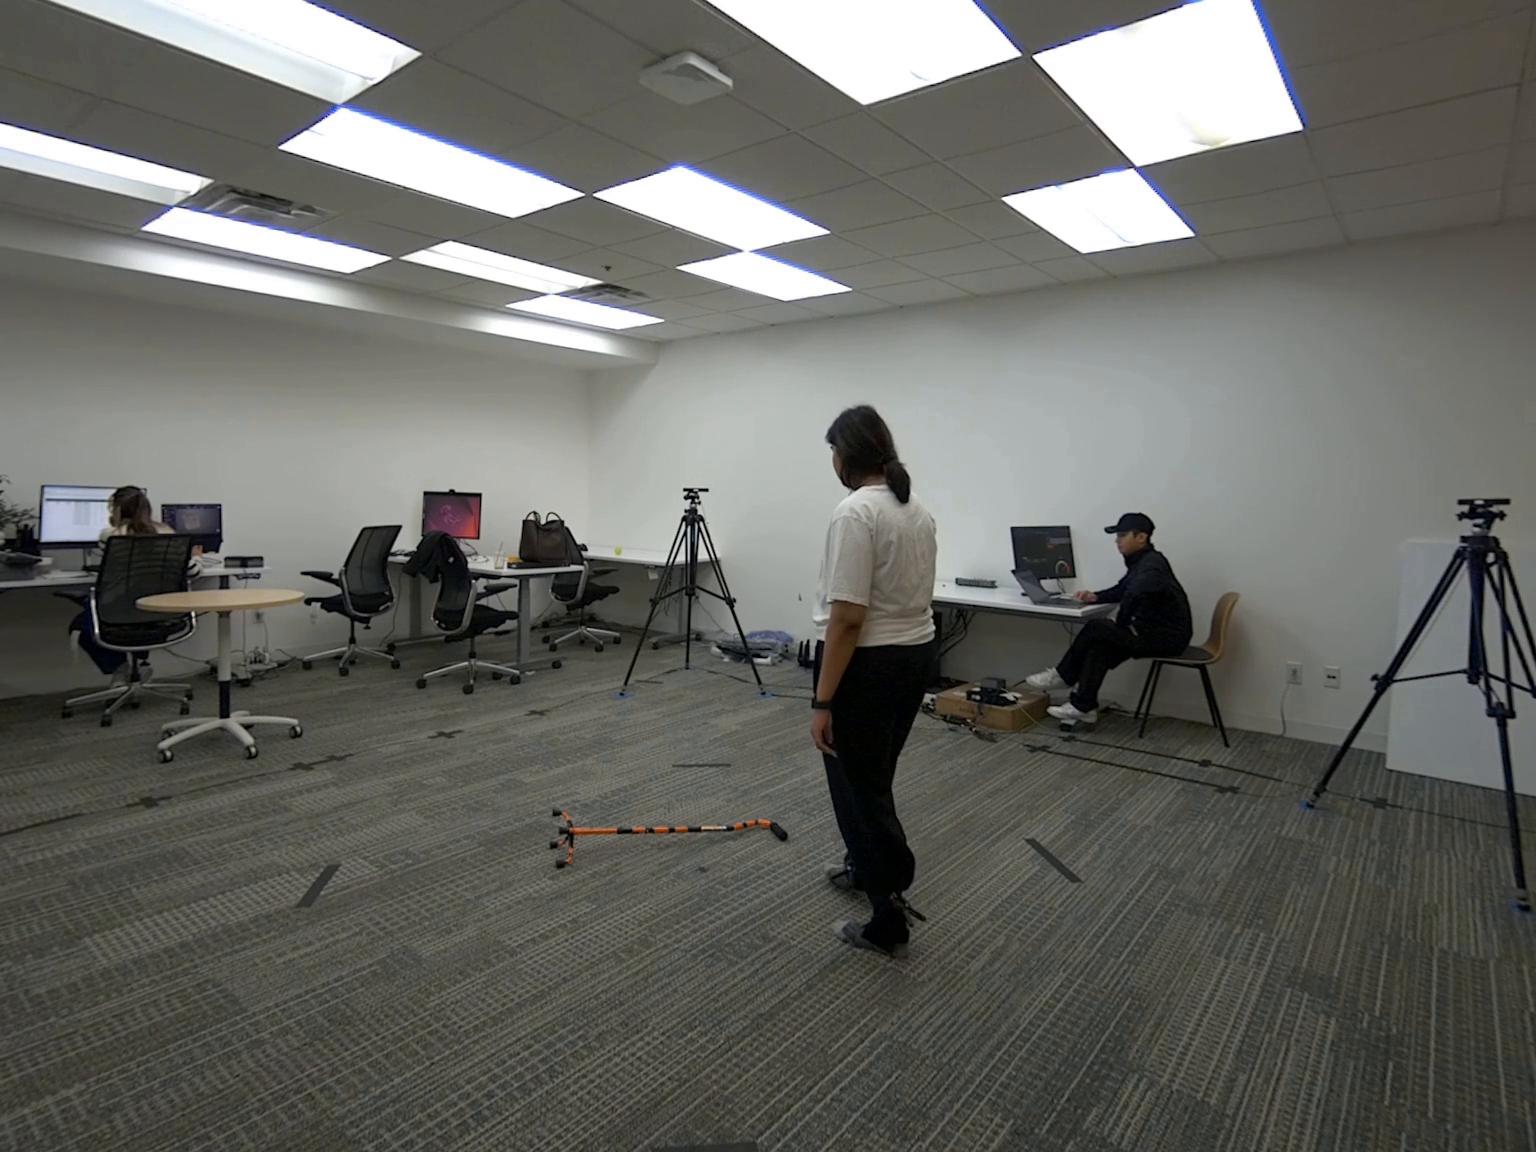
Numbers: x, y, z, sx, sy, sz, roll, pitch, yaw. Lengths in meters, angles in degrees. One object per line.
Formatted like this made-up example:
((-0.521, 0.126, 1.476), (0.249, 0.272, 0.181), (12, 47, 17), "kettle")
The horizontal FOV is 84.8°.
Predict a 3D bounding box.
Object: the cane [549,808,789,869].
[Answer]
((-0.387, 0.999, 3.321), (0.890, 0.151, 0.211), (4, 2, -18), "cane")
